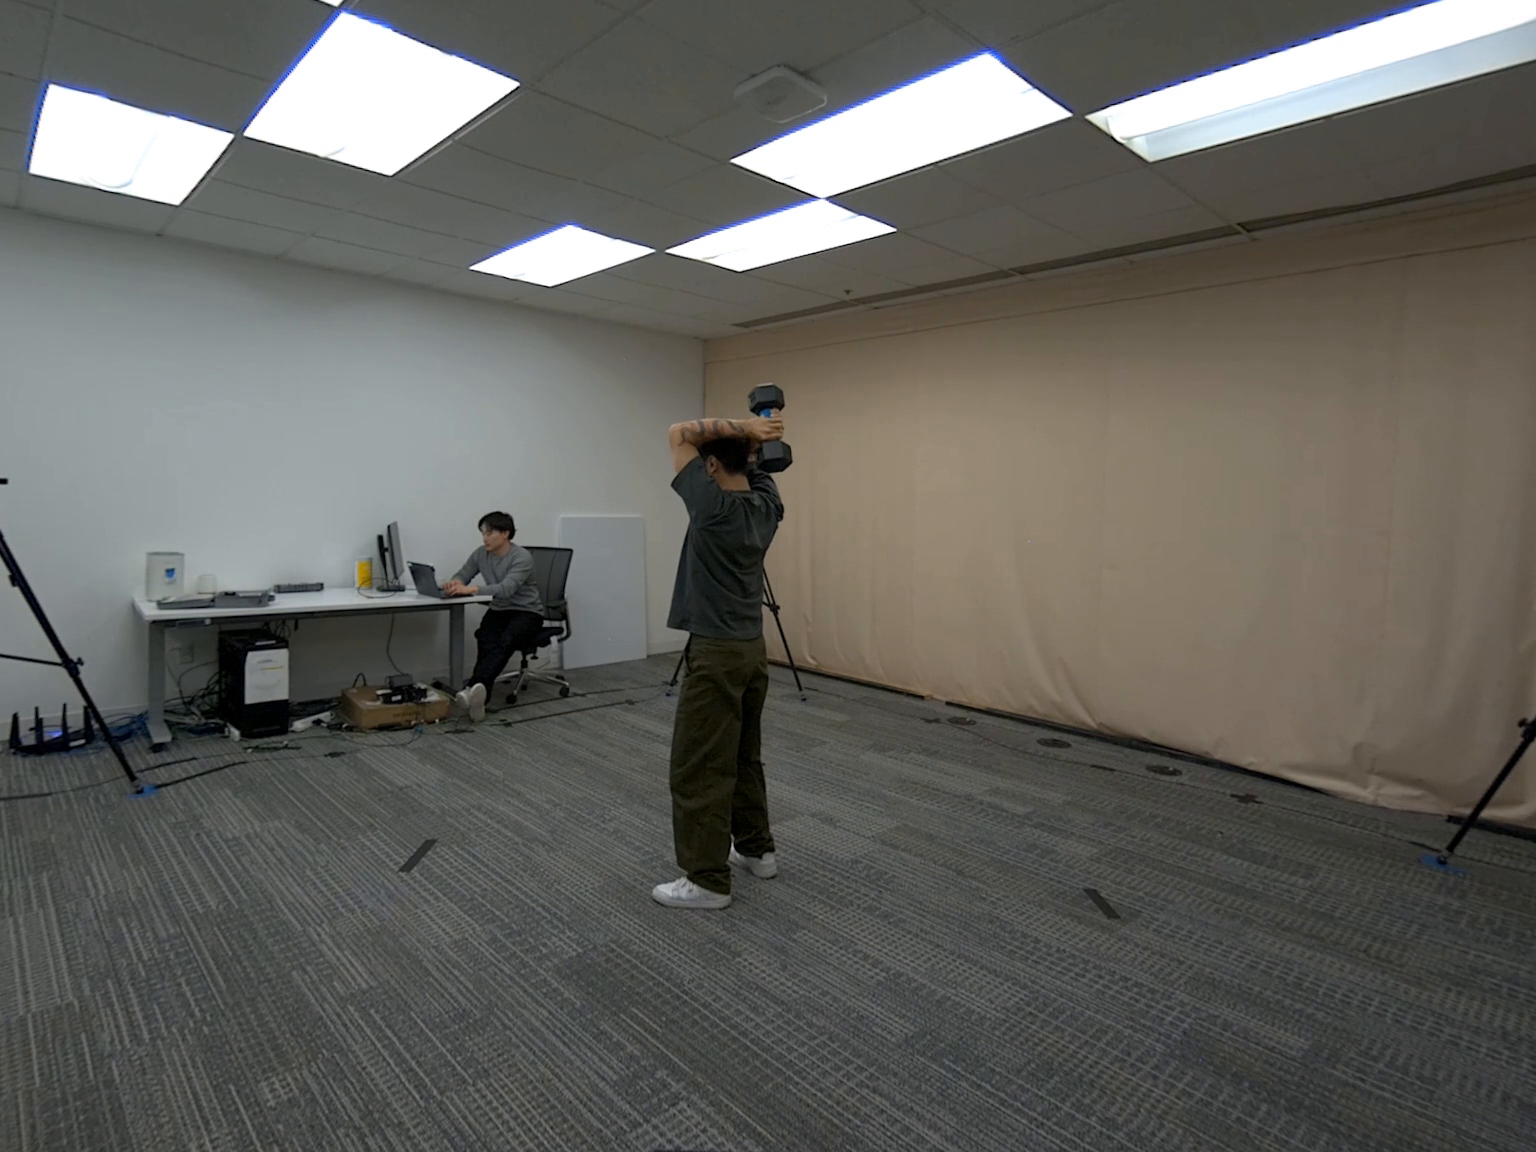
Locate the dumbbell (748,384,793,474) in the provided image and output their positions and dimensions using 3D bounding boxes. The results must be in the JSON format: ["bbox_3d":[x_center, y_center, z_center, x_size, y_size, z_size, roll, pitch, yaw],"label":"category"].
[{"bbox_3d":[-0.006,-0.504,2.834,0.107,0.298,0.123,2,-22,-24],"label":"dumbbell"}]
